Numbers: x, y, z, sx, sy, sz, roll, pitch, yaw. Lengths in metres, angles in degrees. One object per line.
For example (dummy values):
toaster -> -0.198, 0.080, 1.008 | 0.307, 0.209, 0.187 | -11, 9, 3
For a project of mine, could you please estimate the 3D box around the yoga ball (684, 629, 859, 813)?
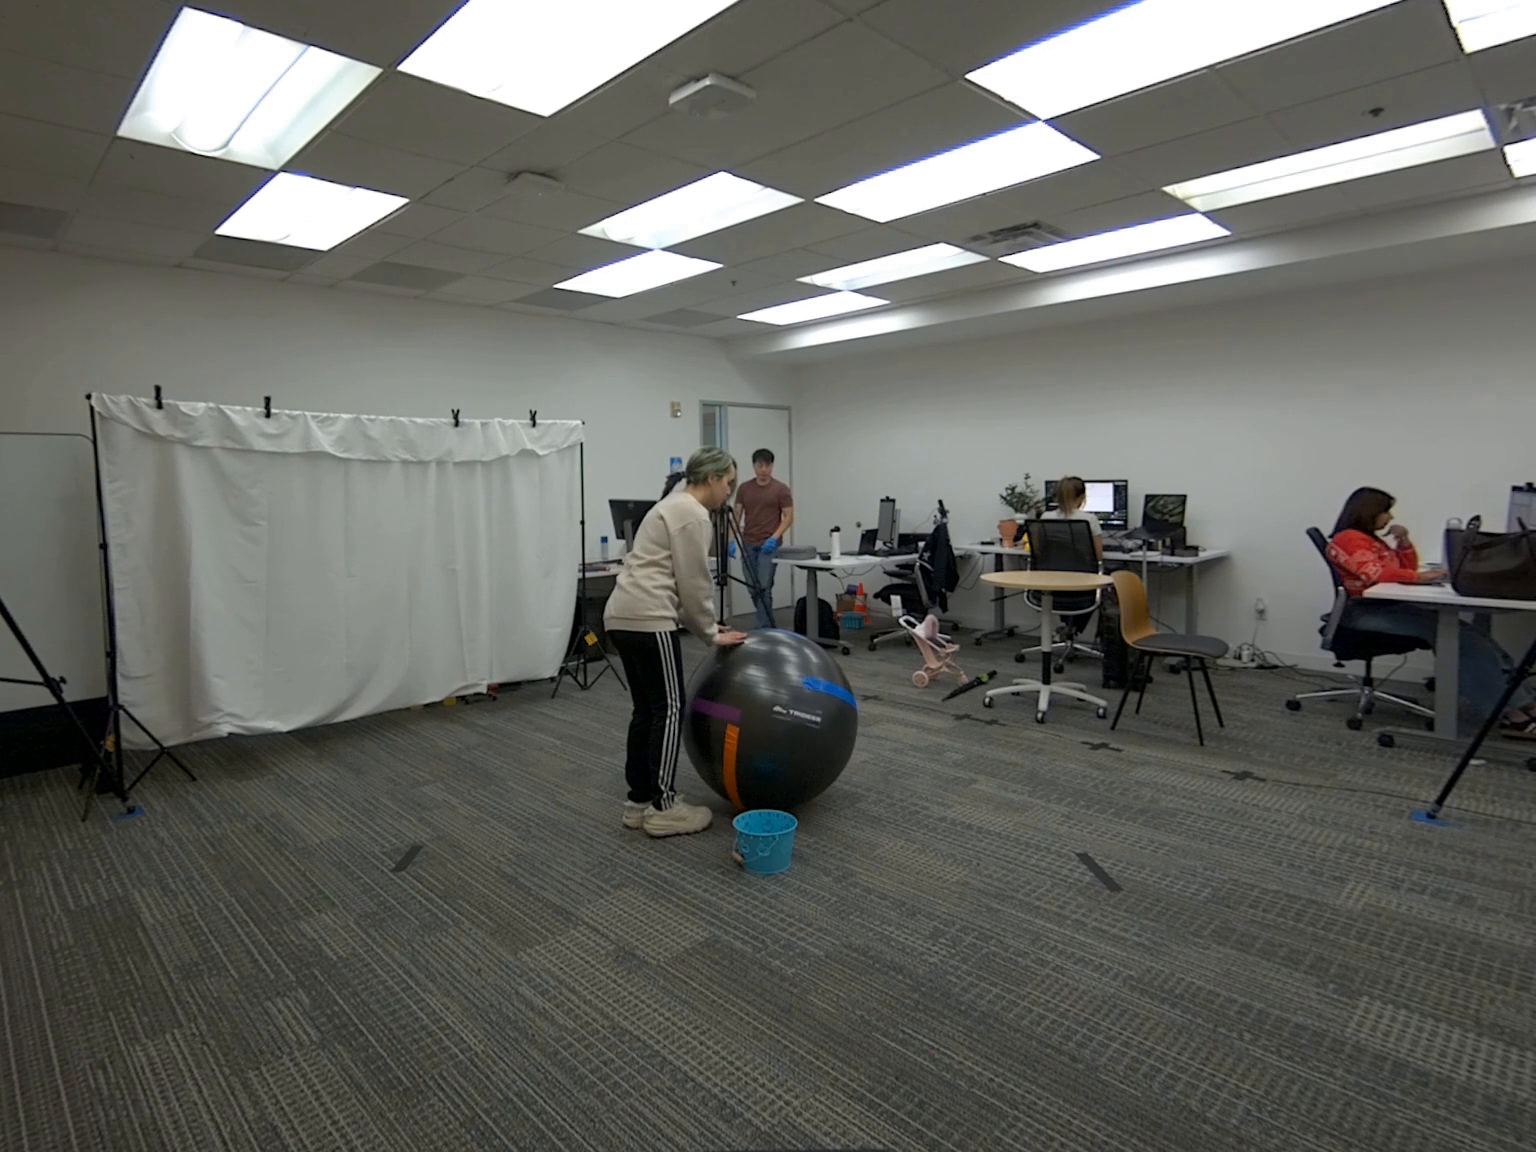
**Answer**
yoga ball -> 0.011, 0.621, 3.670 | 0.757, 0.755, 0.762 | -1, 5, -2
